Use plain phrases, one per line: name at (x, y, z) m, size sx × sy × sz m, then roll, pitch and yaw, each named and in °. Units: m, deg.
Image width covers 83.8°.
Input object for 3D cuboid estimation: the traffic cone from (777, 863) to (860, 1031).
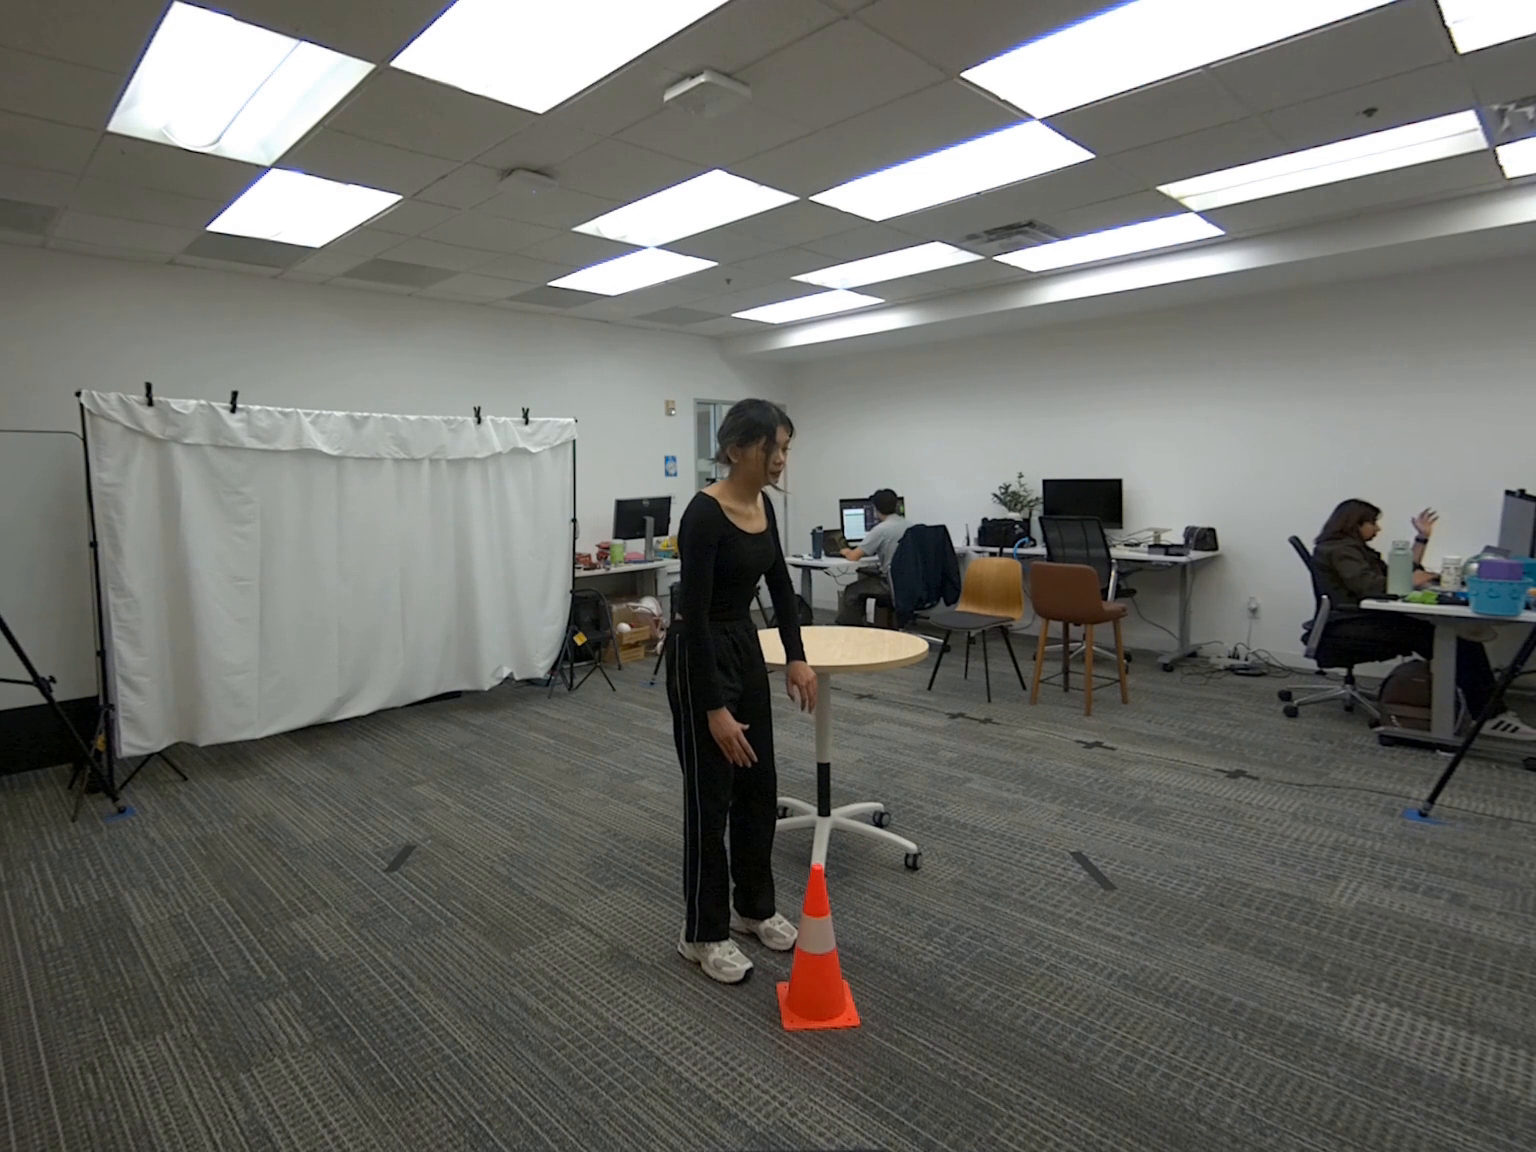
traffic cone at (0.140, 0.954, 2.259) m, size 0.203 × 0.383 × 0.205 m, roll 0°, pitch 3°, yaw -1°
